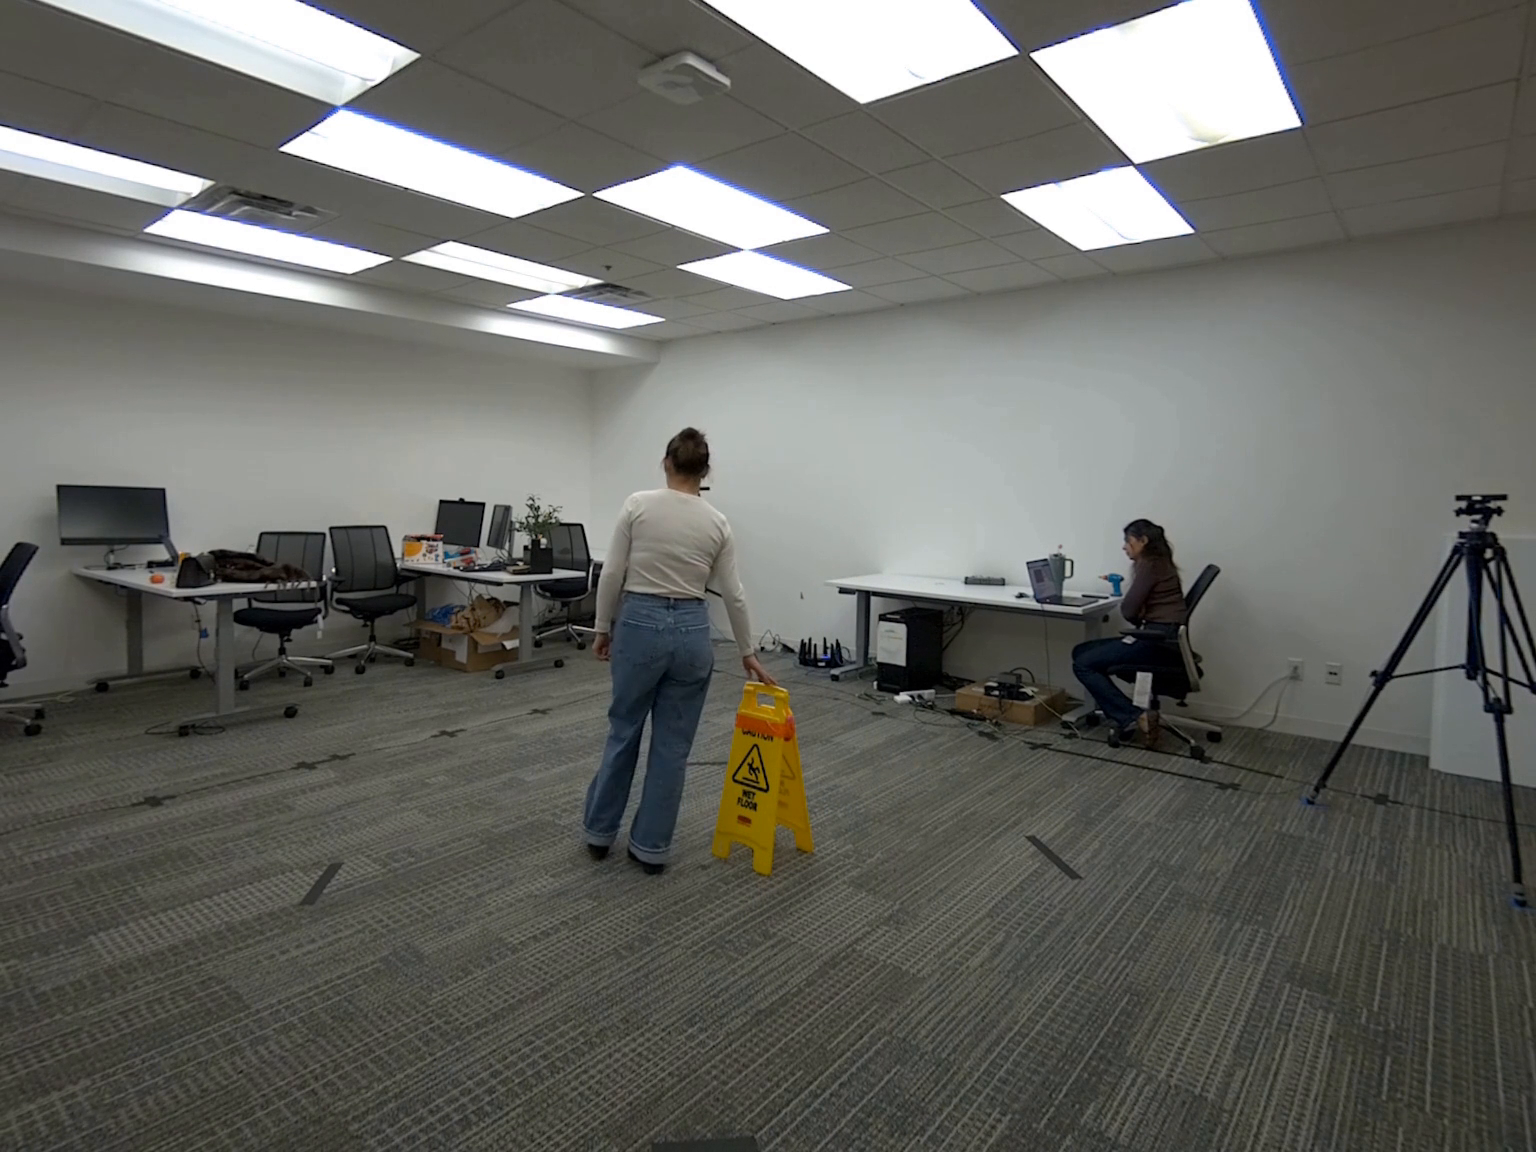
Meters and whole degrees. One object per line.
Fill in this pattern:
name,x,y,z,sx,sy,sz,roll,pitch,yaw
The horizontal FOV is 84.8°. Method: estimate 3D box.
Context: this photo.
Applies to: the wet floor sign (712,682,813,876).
wet floor sign,-0.020,0.735,3.232,0.292,0.644,0.281,4,4,39
